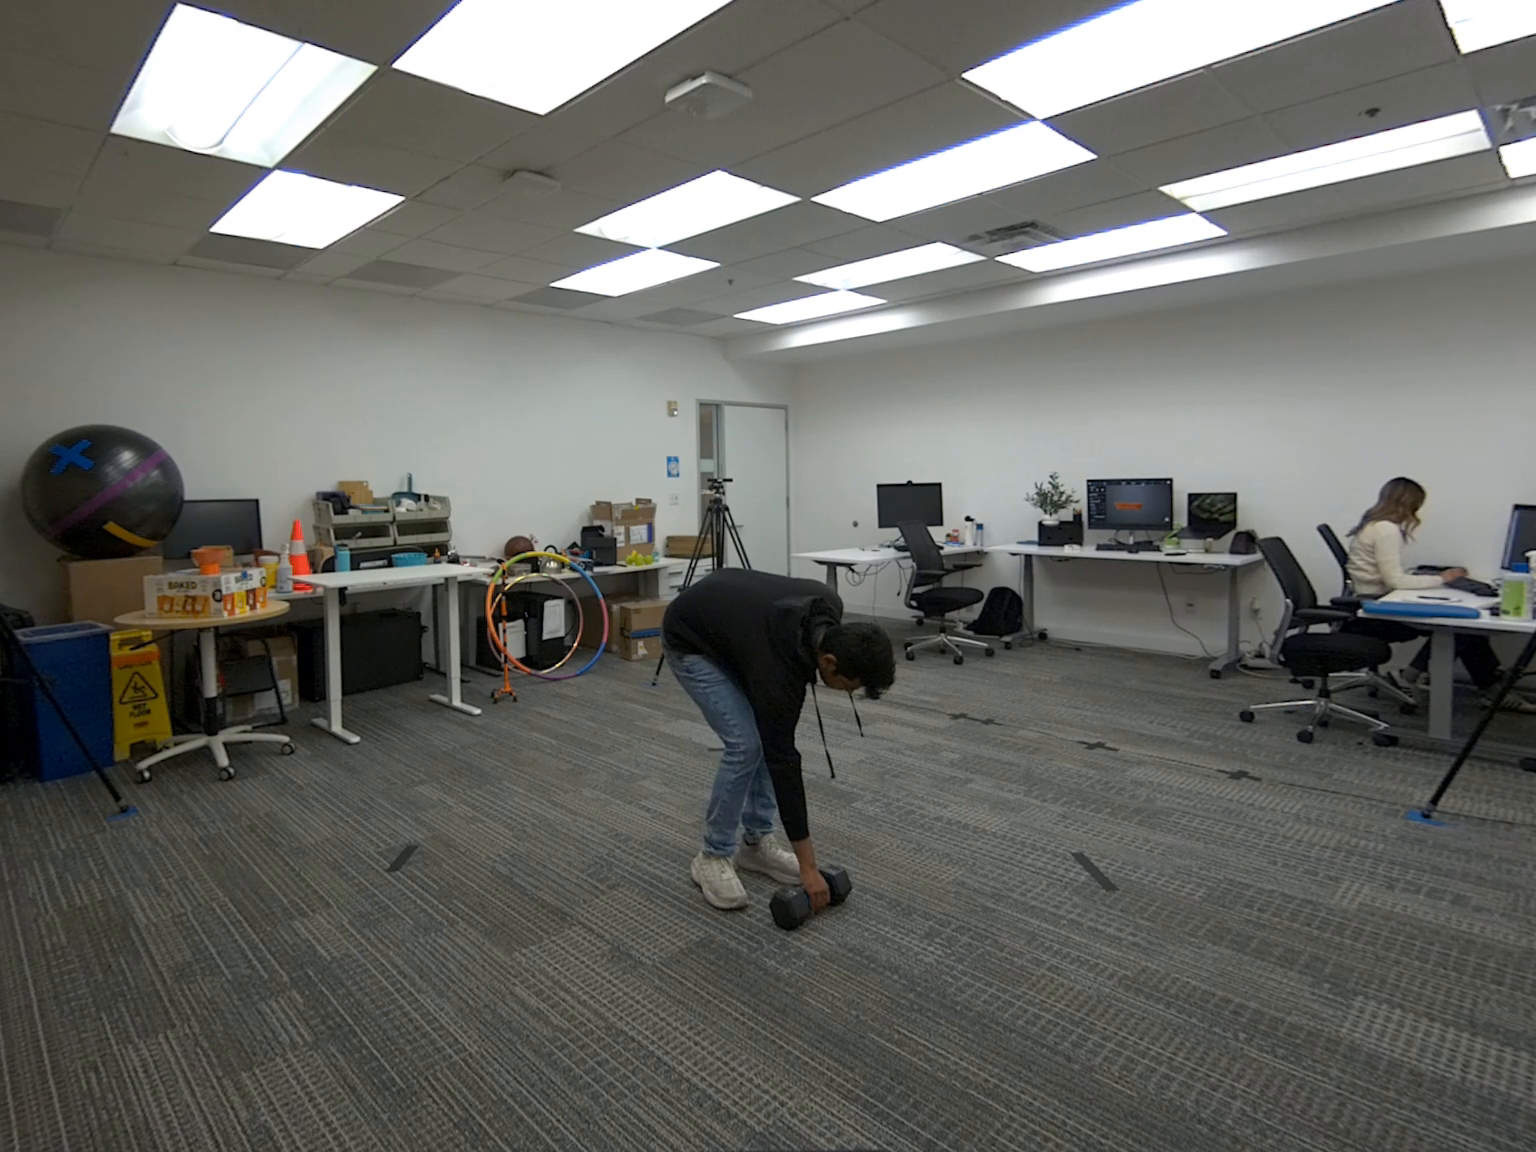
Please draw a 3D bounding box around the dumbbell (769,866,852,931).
[{"bbox_3d":[0.143,1.024,2.747,0.286,0.108,0.127,-7,8,-43],"label":"dumbbell"}]
